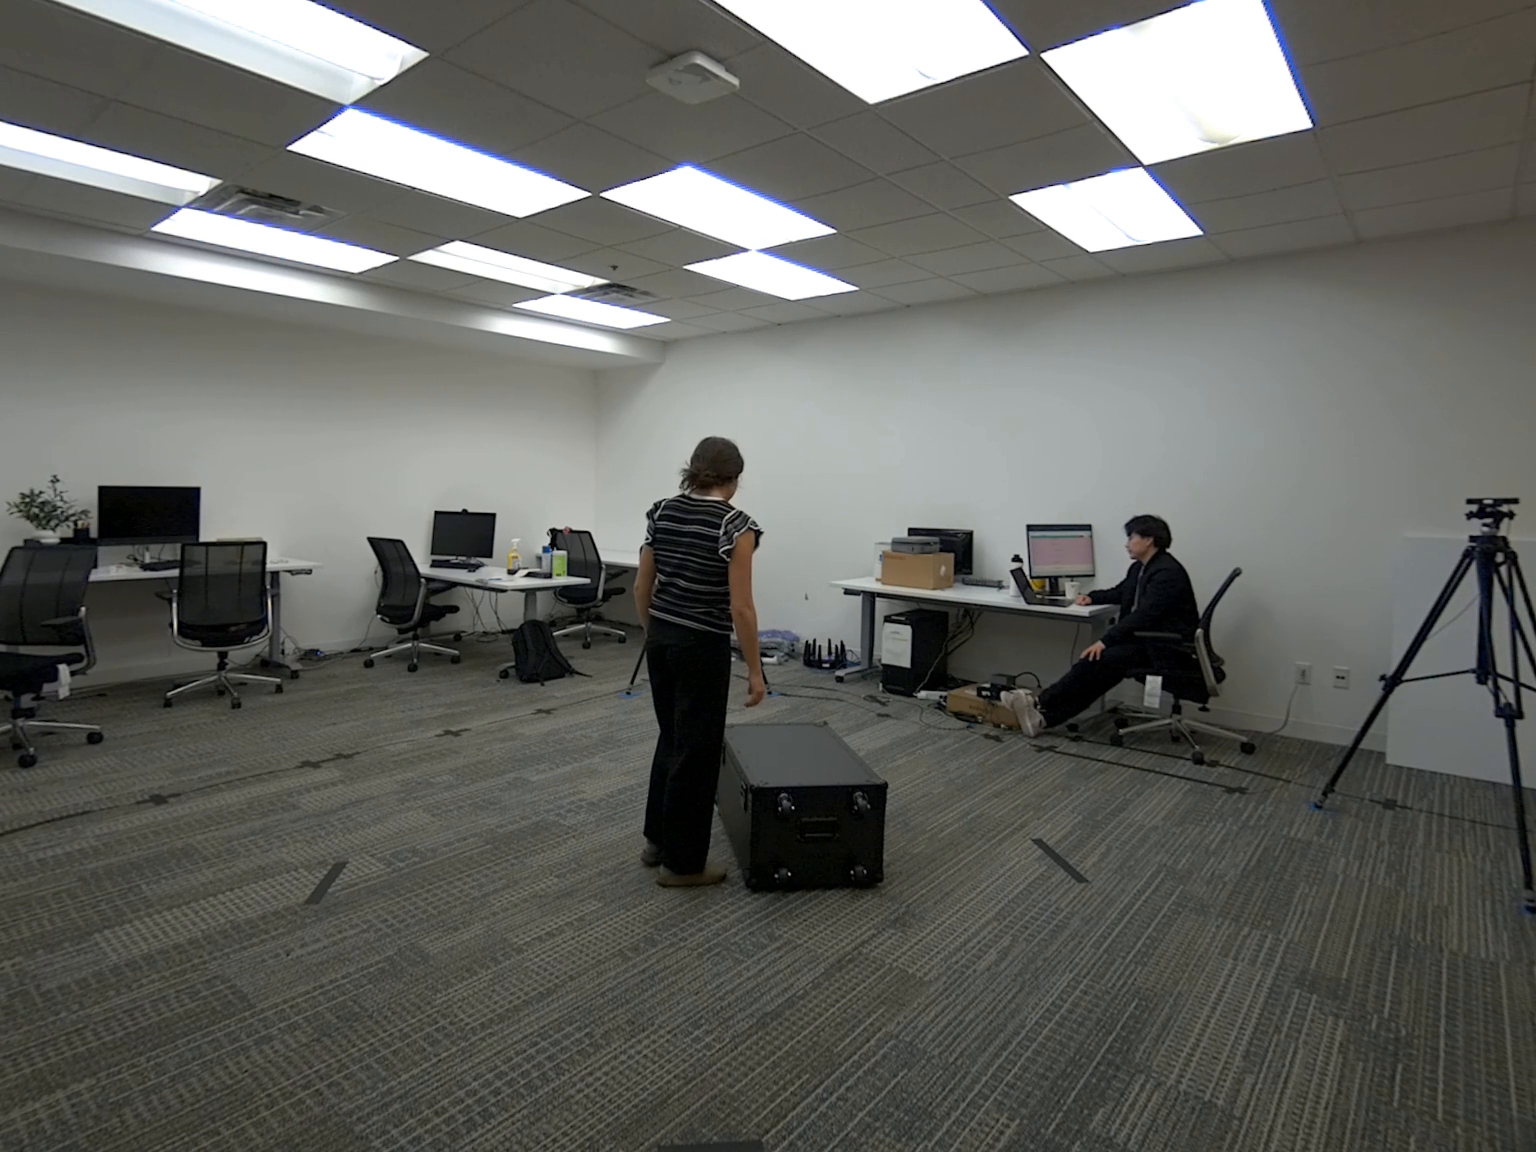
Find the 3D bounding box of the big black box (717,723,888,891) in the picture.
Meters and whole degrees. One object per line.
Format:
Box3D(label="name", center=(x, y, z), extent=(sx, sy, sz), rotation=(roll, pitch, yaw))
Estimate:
Box3D(label="big black box", center=(0.090, 0.863, 3.287), extent=(0.515, 0.395, 0.874), rotation=(0, 5, -12))
